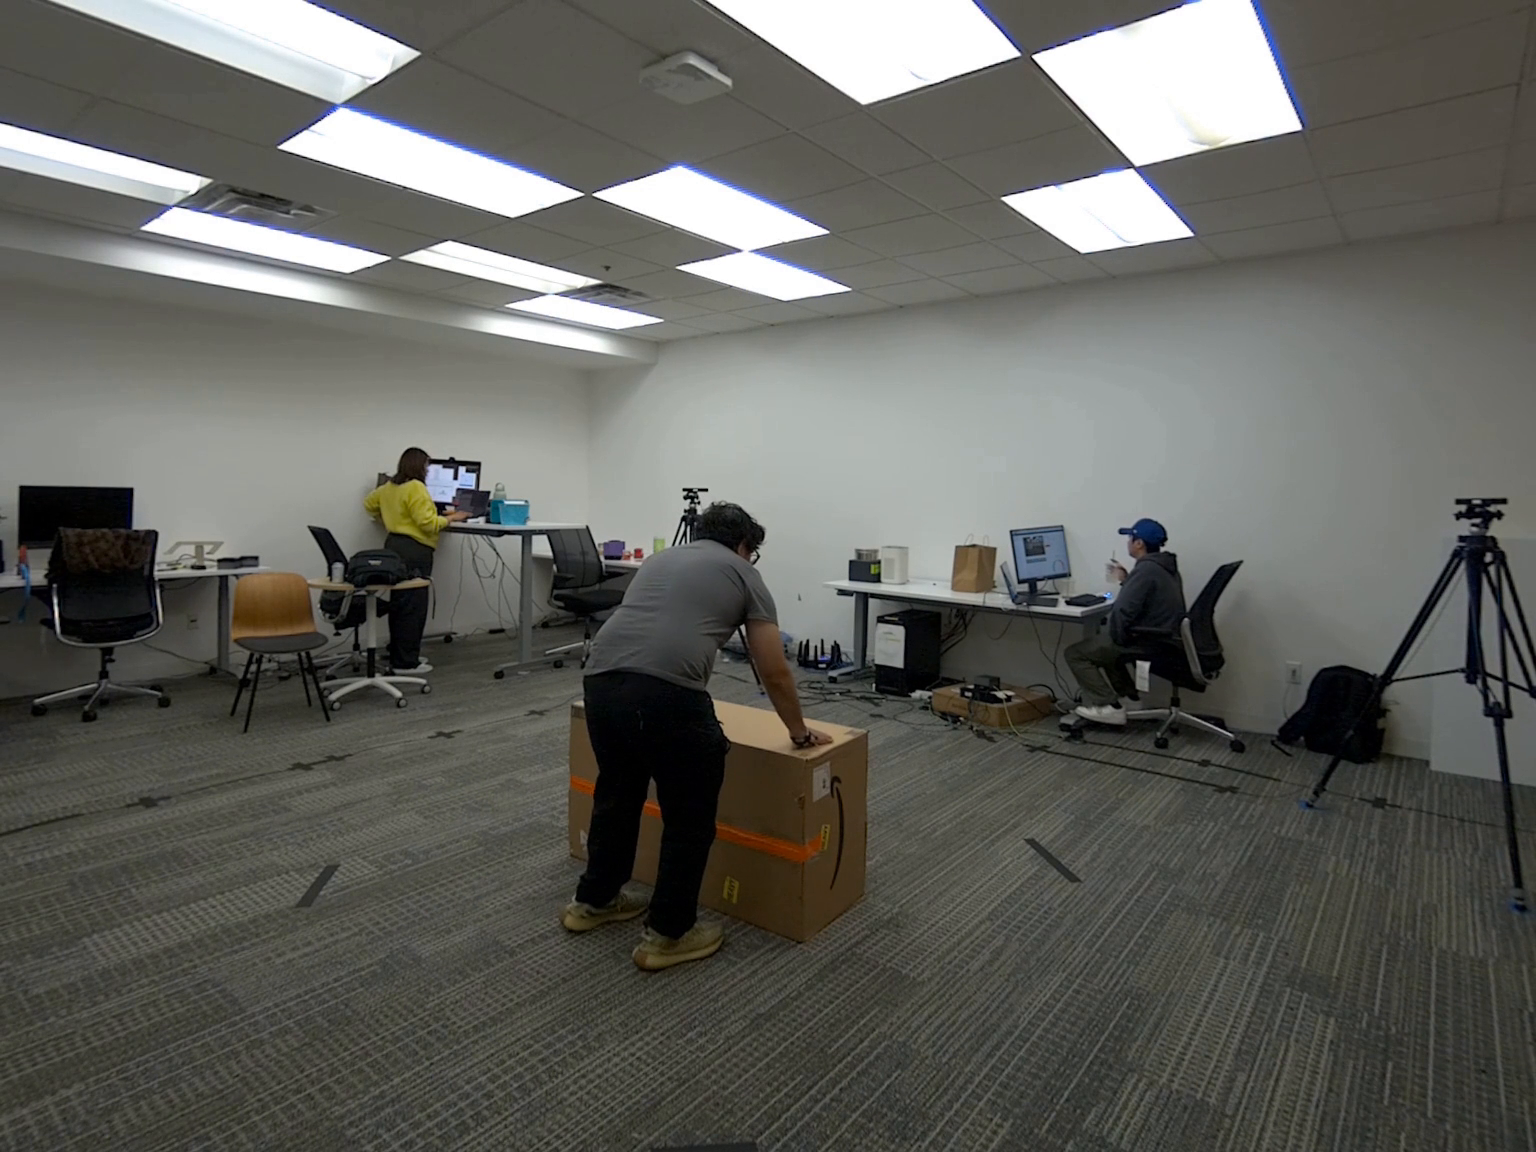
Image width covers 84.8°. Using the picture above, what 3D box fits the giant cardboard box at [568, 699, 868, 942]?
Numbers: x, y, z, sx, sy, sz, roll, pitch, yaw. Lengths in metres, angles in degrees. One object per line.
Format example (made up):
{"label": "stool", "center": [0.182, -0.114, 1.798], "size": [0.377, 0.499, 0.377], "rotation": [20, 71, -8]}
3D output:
{"label": "giant cardboard box", "center": [-0.213, 0.783, 3.055], "size": [1.059, 0.575, 0.414], "rotation": [4, 5, 35]}
